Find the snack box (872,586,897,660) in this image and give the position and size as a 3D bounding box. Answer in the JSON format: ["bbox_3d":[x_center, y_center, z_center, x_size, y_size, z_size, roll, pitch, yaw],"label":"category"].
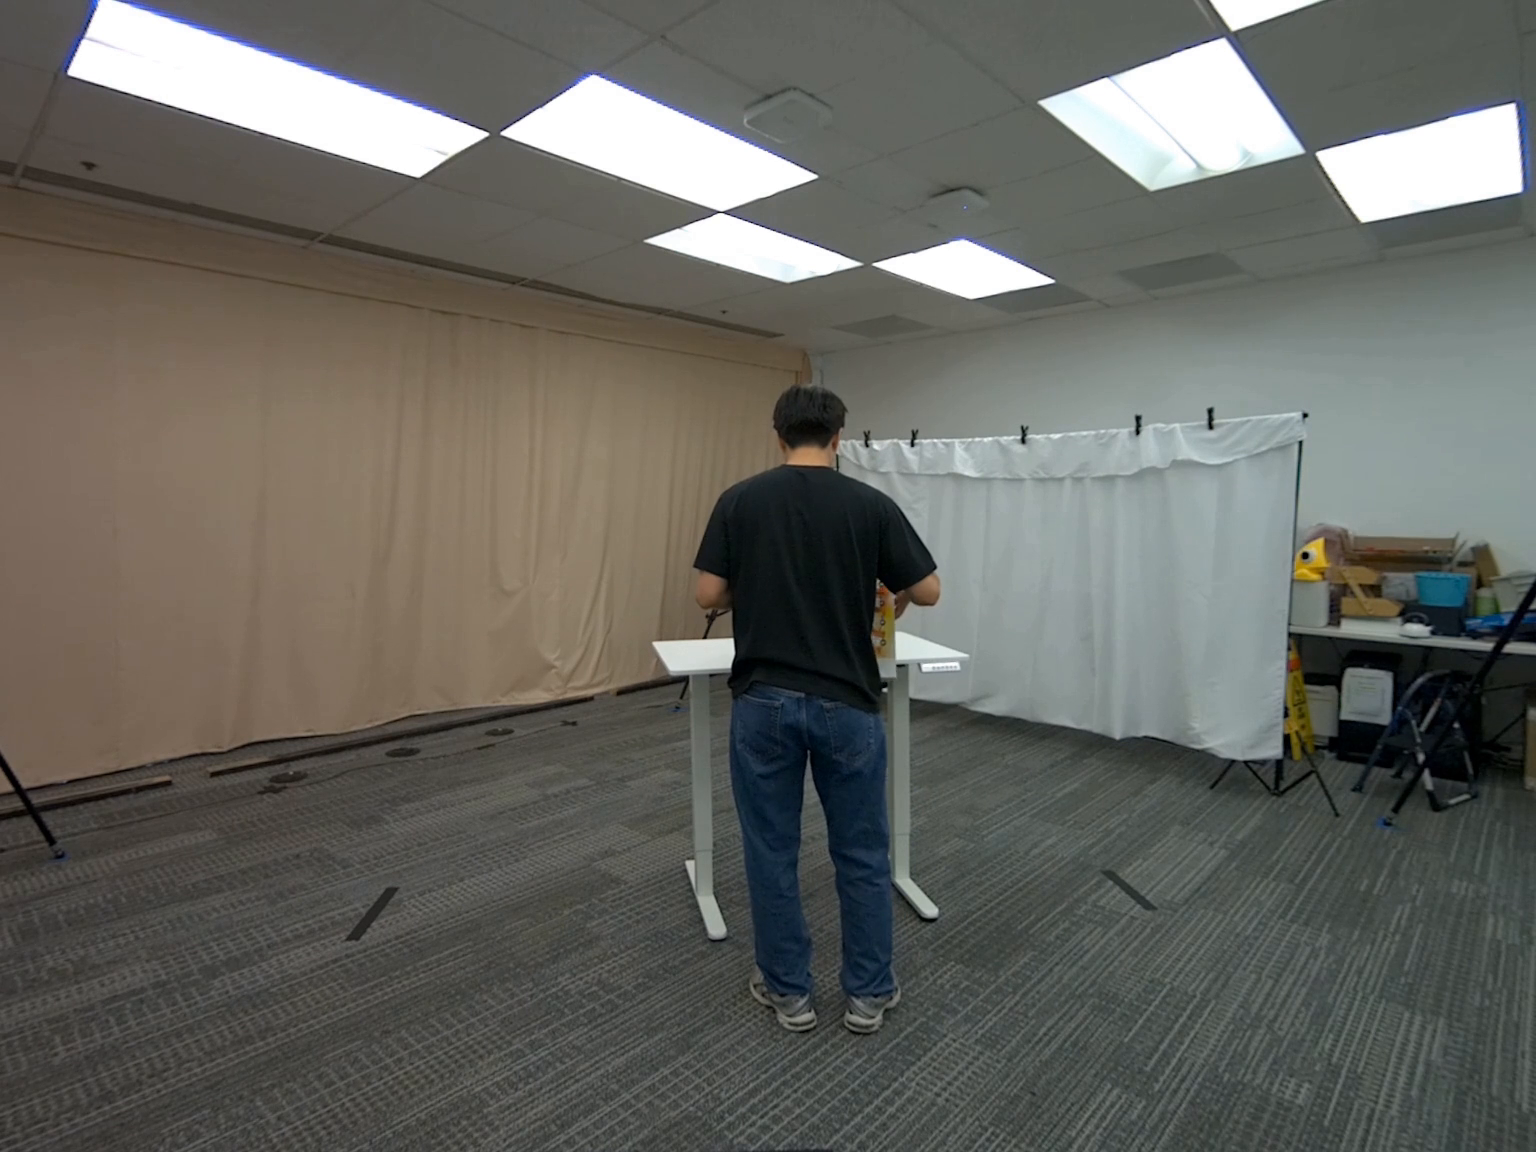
[{"bbox_3d":[0.210,0.113,2.571,0.341,0.408,0.204,1,-11,2],"label":"snack box"}]
